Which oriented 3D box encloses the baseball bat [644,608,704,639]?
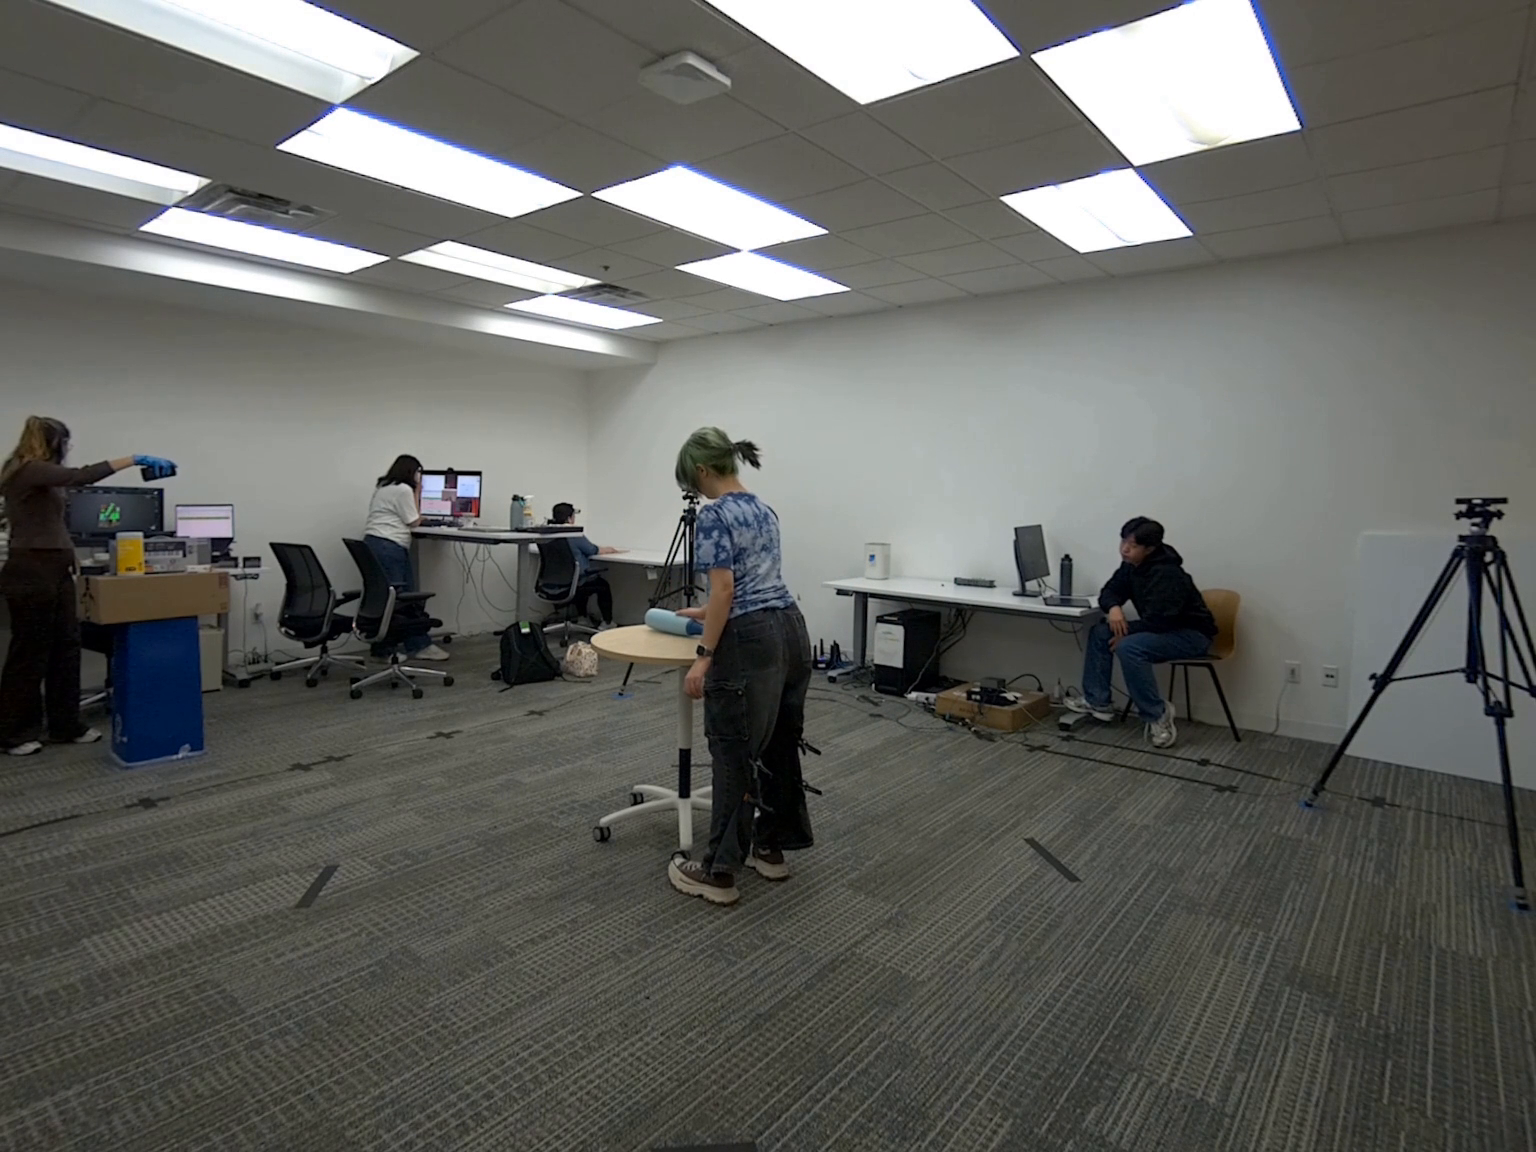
[{"bbox_3d":[-0.301,0.213,3.463,0.563,0.088,0.086,10,9,41],"label":"baseball bat"}]
